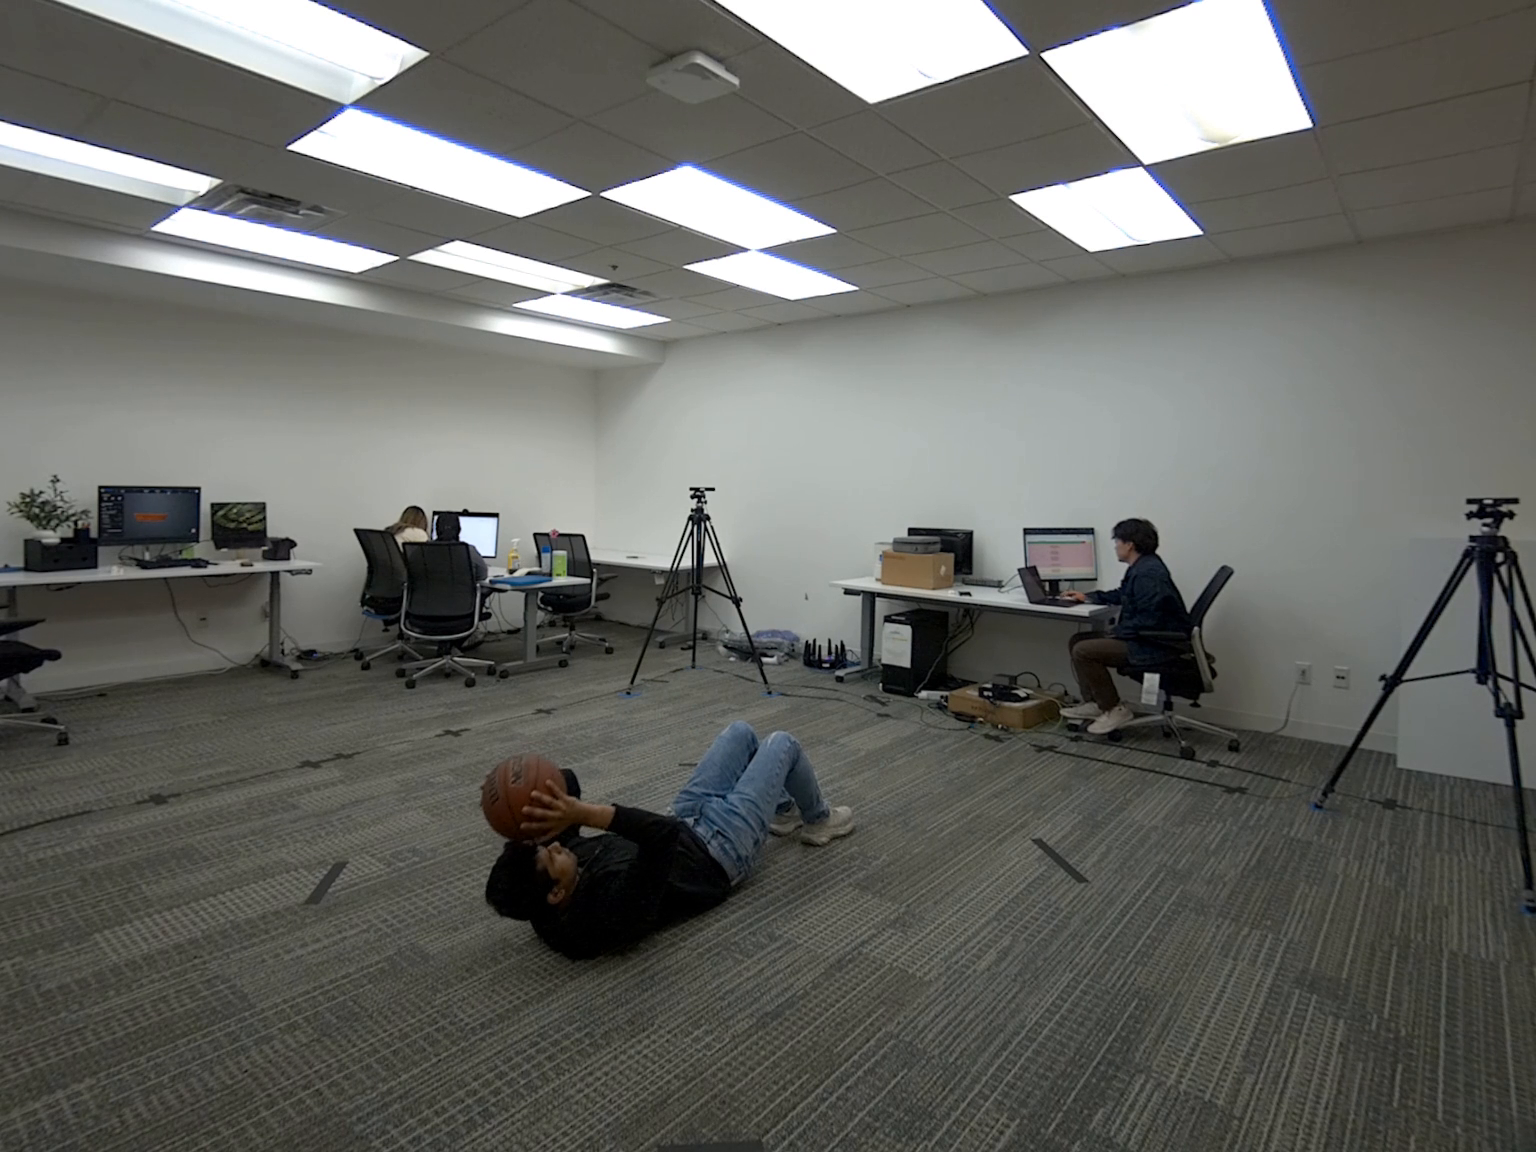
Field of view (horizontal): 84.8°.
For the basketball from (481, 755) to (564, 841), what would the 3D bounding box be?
[{"bbox_3d":[-0.699,0.634,2.445,0.235,0.235,0.237,1,4,-2],"label":"basketball"}]
